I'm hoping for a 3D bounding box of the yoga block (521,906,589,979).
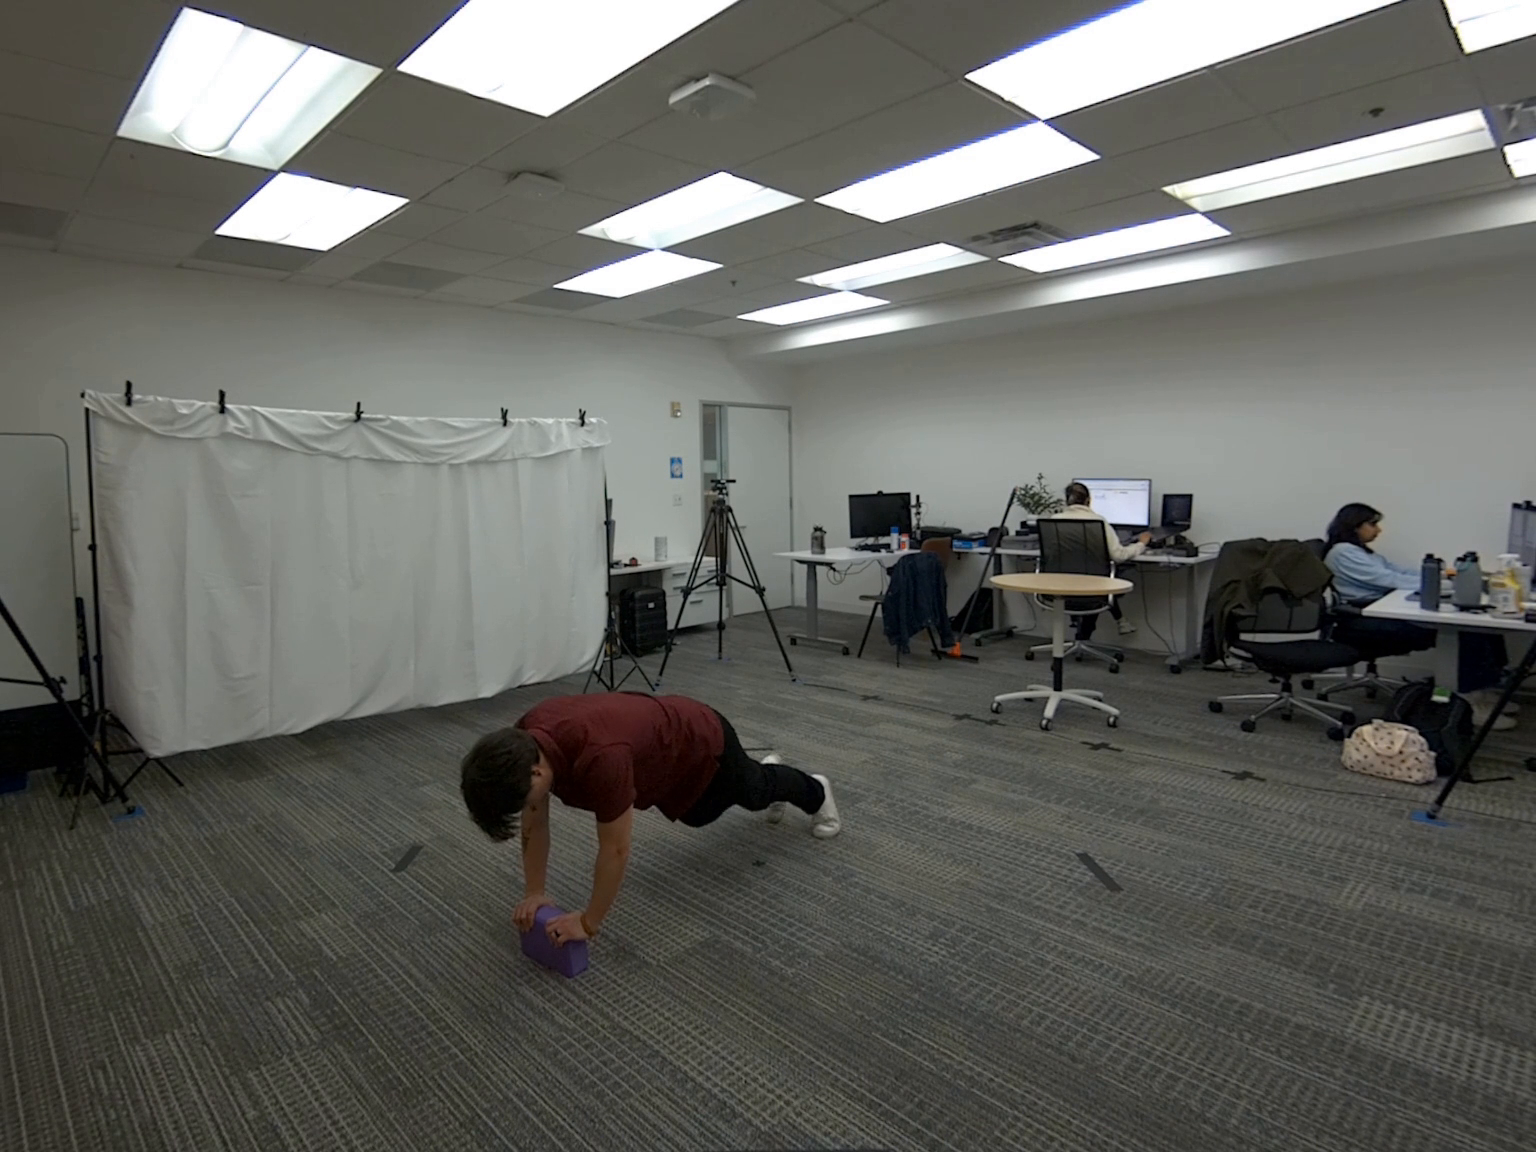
[{"bbox_3d":[-0.625,1.063,2.502,0.236,0.148,0.075,3,10,37],"label":"yoga block"}]
